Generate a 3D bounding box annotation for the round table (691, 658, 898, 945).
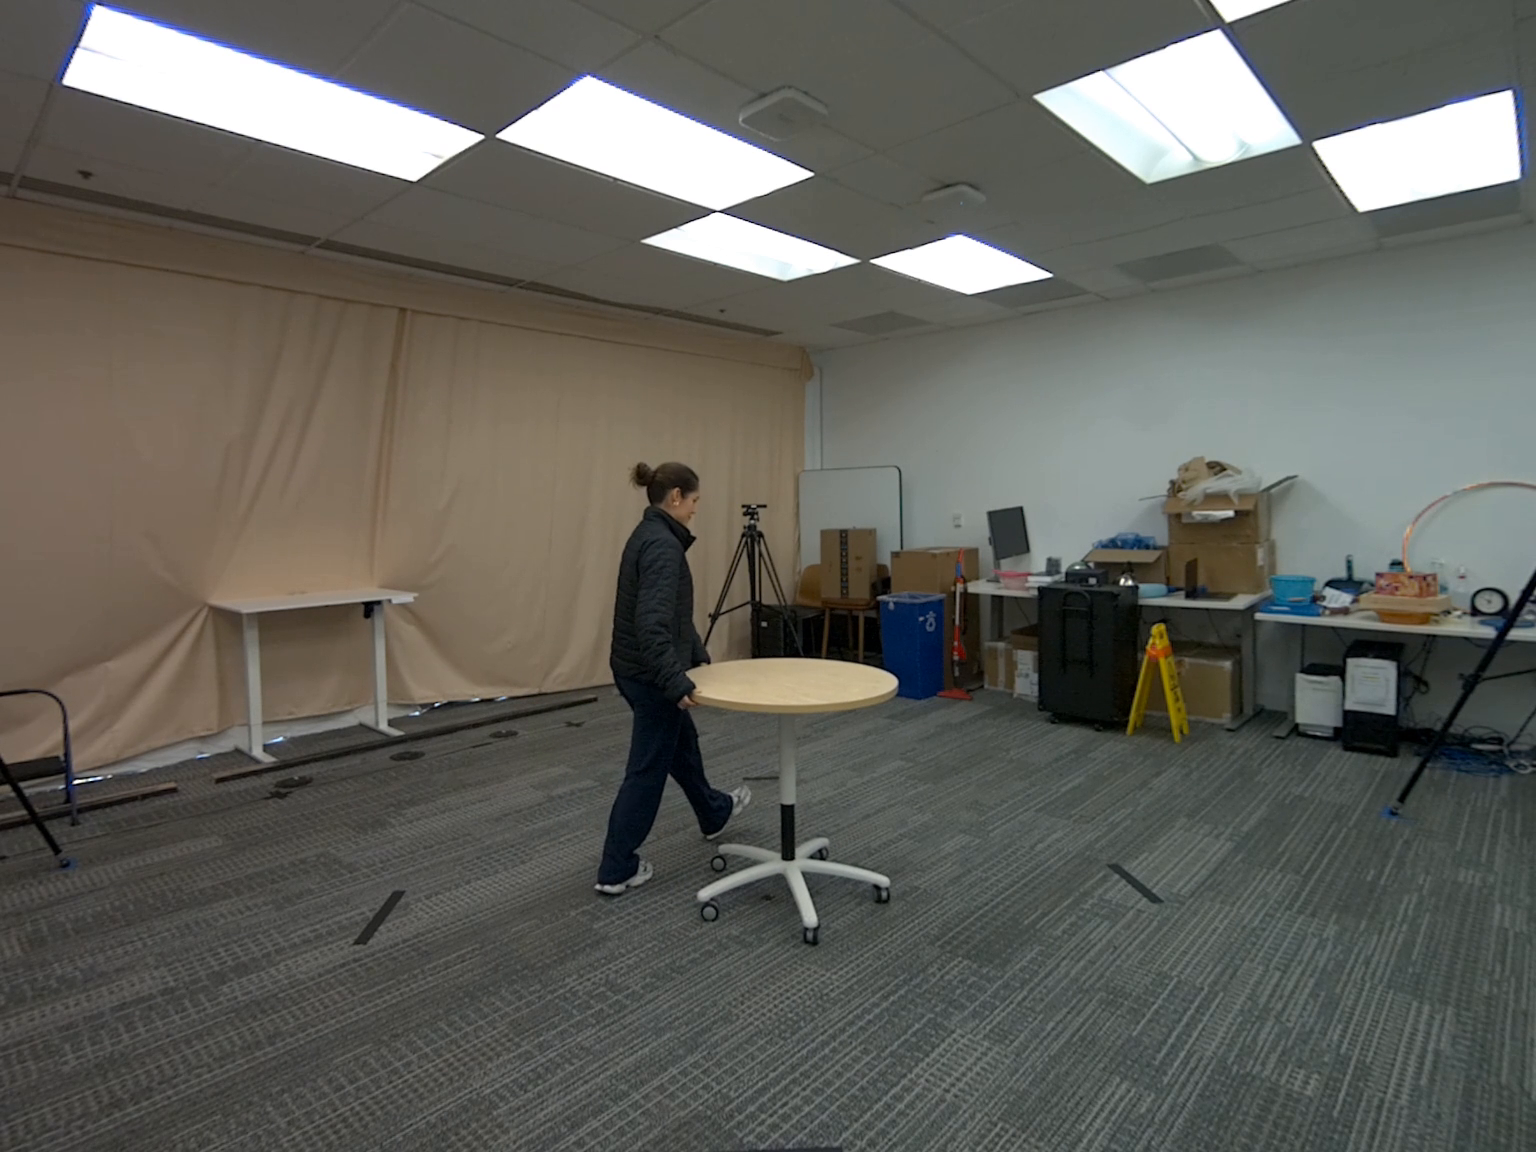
[{"bbox_3d":[0.099,0.747,2.959,0.784,0.784,0.788,-1,4,-2],"label":"round table"}]
